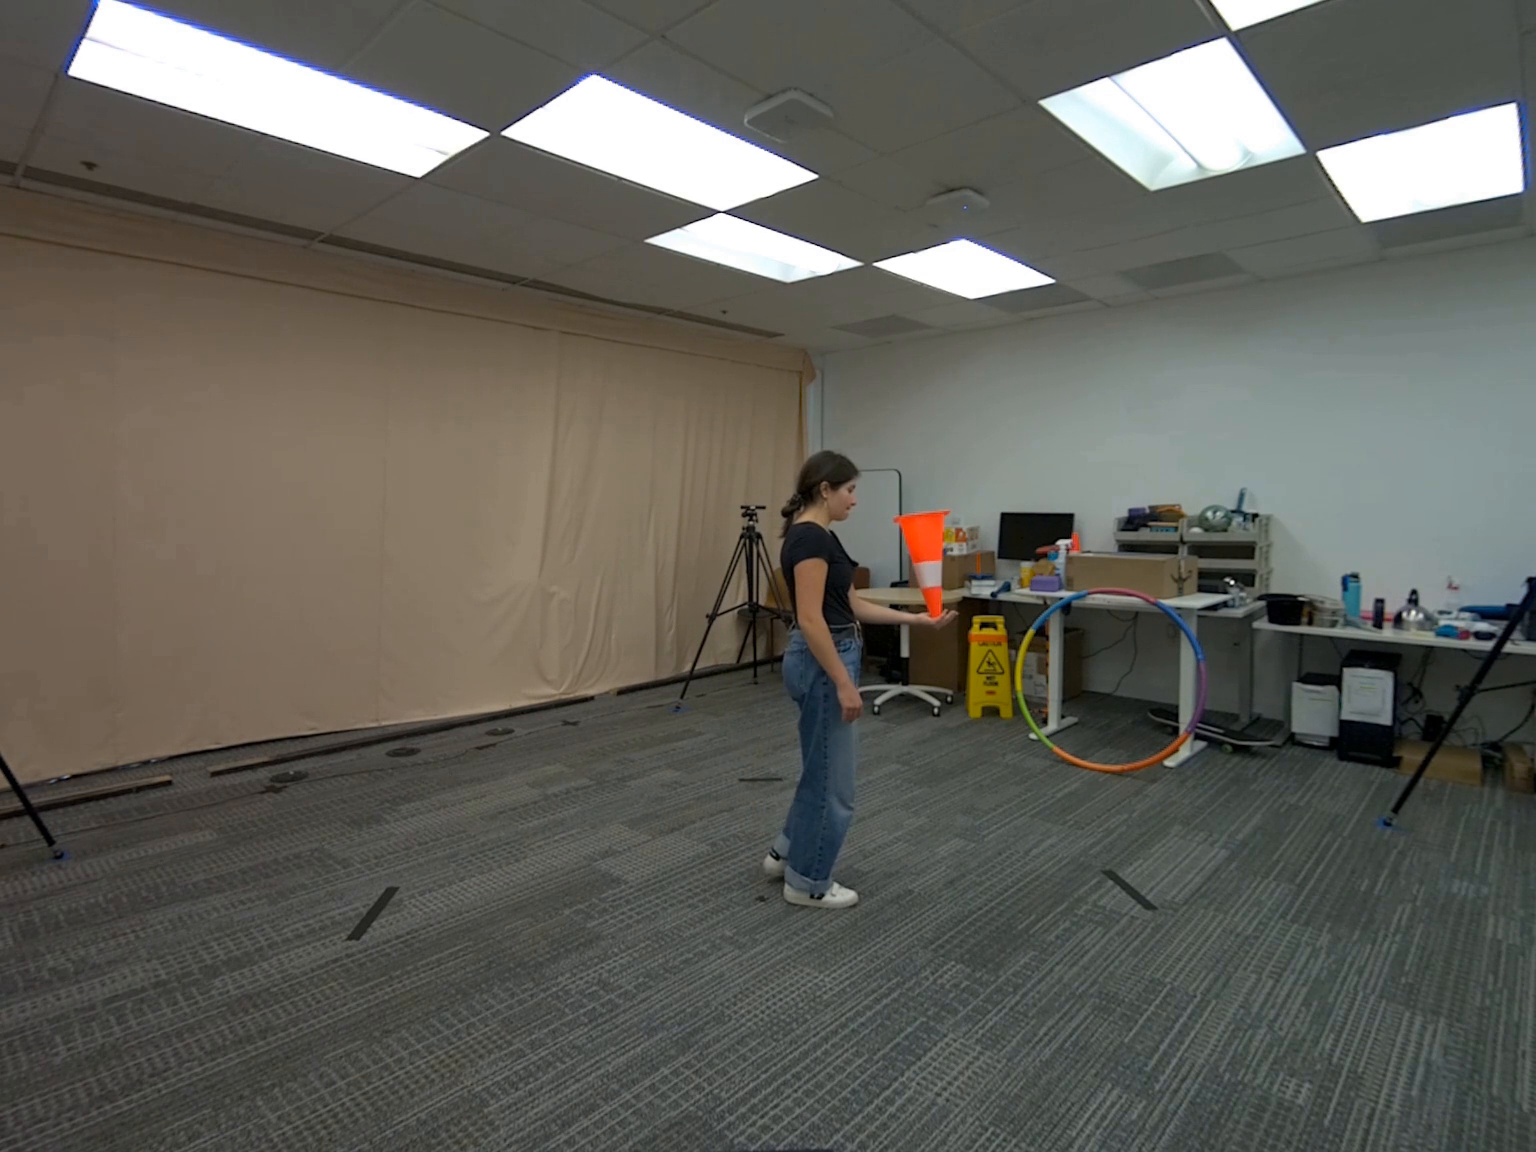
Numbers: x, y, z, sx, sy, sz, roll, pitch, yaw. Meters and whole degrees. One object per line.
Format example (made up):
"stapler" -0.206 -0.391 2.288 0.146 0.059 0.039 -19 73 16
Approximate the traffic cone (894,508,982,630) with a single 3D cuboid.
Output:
"traffic cone" 0.591 -0.022 2.992 0.206 0.385 0.201 -11 -5 5
